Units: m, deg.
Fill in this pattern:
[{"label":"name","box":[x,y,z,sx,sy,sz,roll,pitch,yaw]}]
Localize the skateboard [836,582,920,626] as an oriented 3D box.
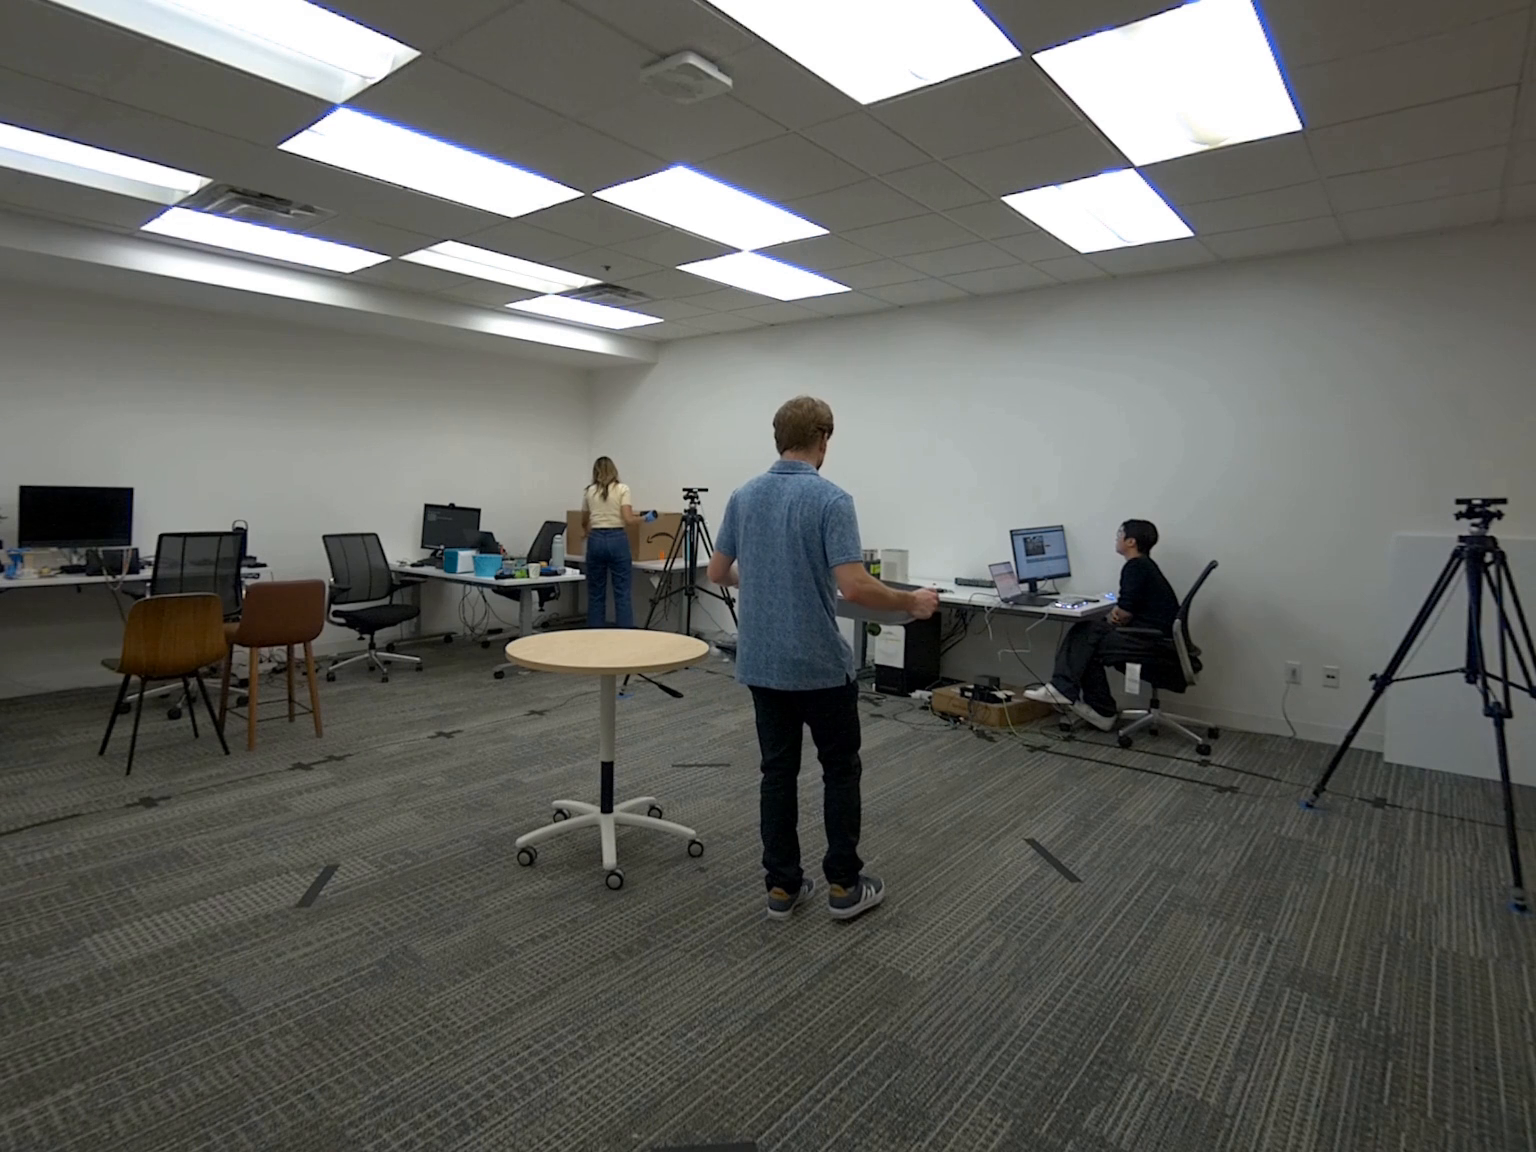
[{"label":"skateboard","box":[0.228,0.086,3.039,0.813,0.106,0.194,9,50,39]}]
